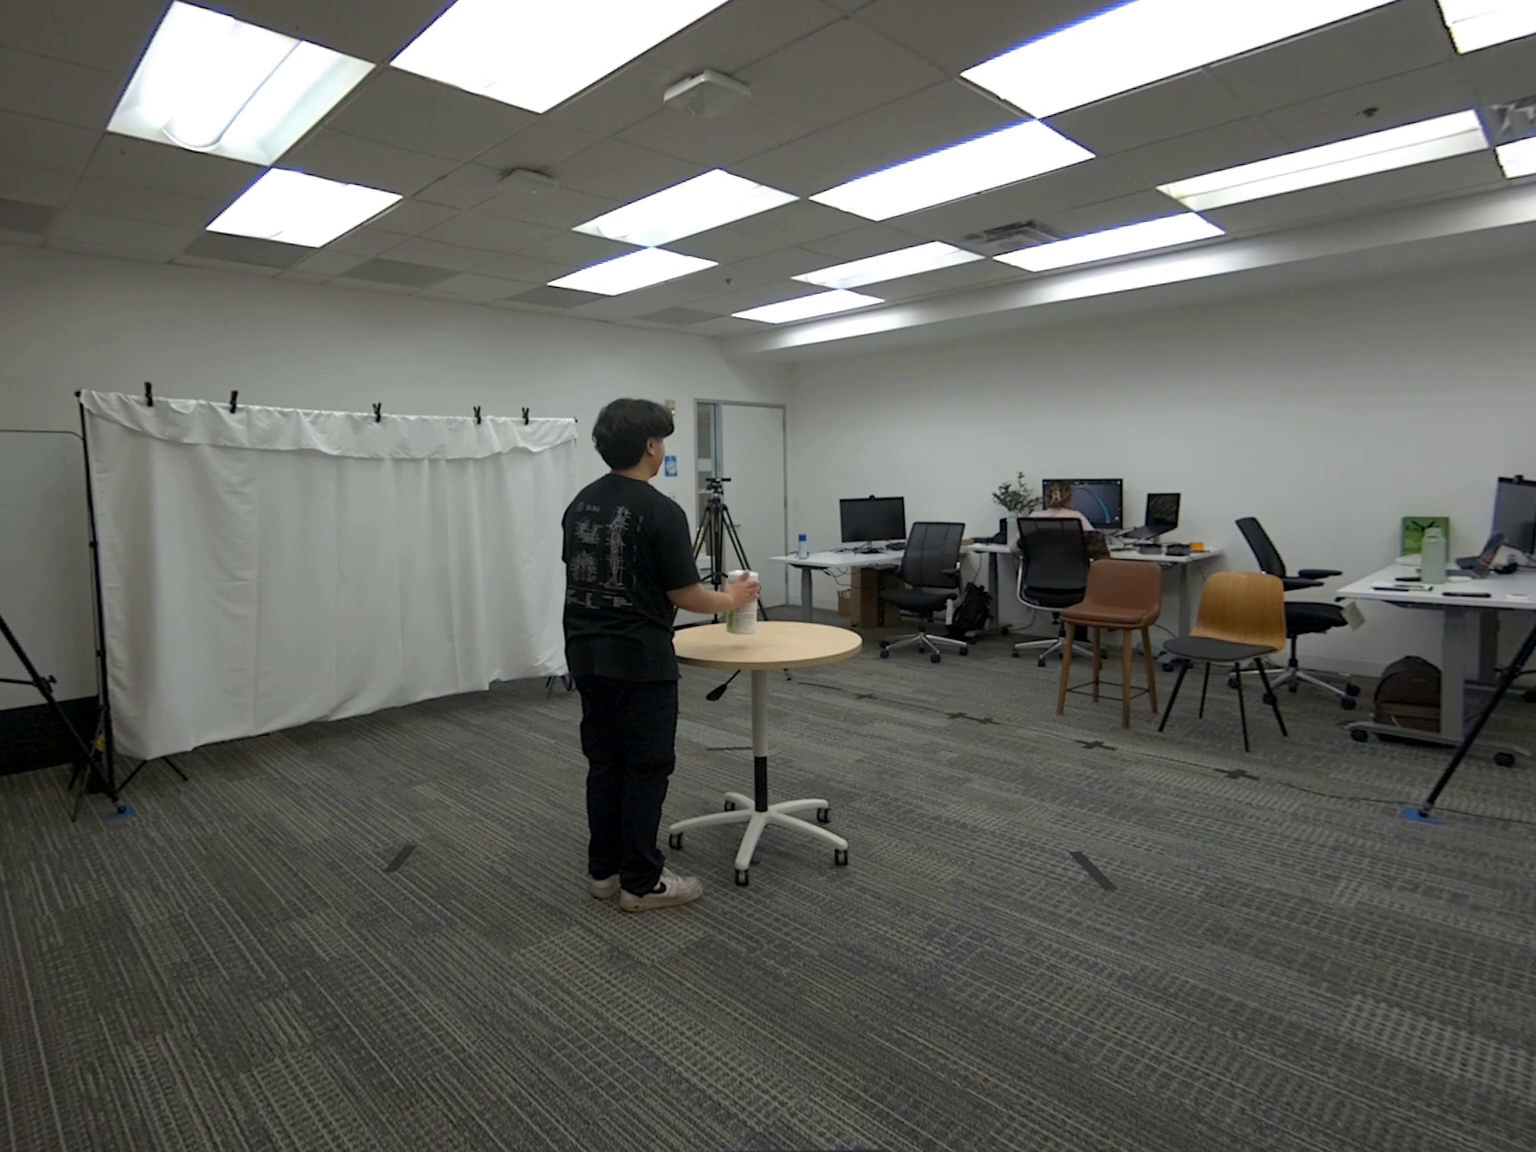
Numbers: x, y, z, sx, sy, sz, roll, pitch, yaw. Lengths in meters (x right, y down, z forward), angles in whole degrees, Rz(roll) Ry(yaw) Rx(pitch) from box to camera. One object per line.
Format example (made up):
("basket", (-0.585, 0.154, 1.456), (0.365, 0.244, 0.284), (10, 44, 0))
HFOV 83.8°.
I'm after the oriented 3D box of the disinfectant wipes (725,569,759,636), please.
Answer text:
("disinfectant wipes", (-0.087, 0.096, 3.051), (0.118, 0.217, 0.118), (-1, 3, -2))
